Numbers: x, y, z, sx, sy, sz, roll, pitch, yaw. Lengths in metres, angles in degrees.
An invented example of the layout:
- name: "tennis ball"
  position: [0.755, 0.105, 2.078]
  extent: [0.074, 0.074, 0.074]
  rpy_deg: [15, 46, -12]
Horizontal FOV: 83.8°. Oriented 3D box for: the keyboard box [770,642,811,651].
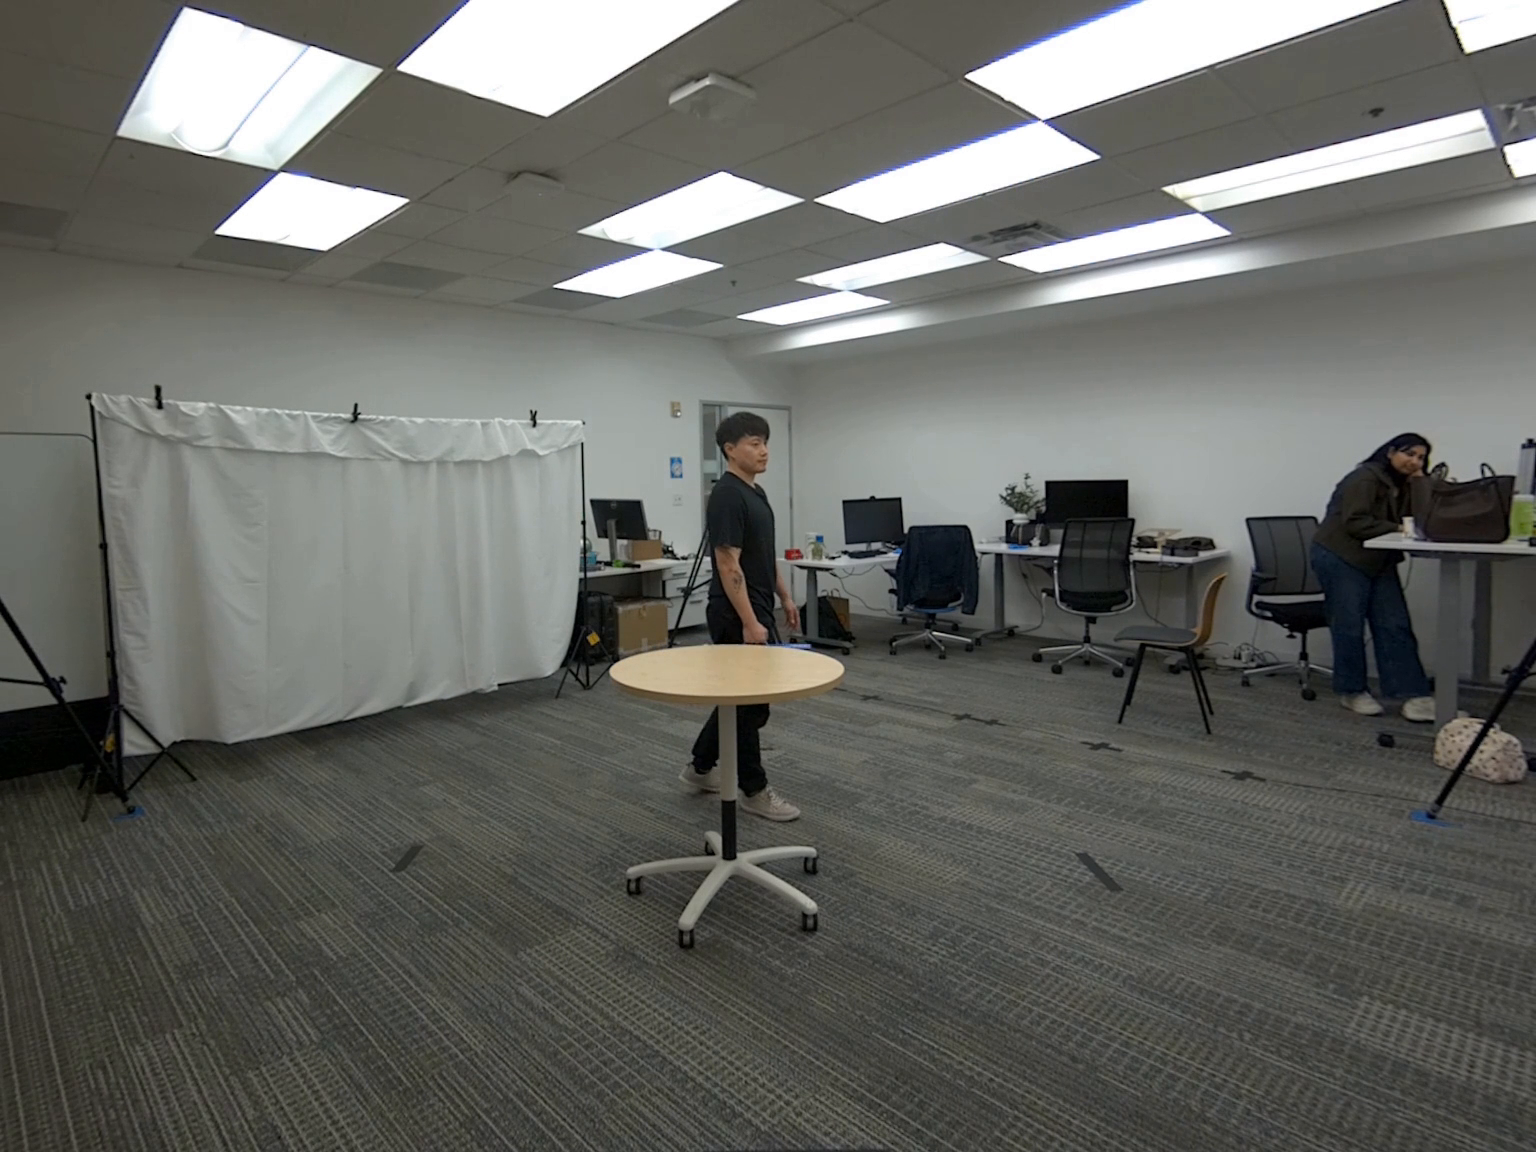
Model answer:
- name: "keyboard box"
  position: [-0.047, 0.362, 3.377]
  extent: [0.439, 0.175, 0.059]
  rpy_deg: [-1, 6, 6]
